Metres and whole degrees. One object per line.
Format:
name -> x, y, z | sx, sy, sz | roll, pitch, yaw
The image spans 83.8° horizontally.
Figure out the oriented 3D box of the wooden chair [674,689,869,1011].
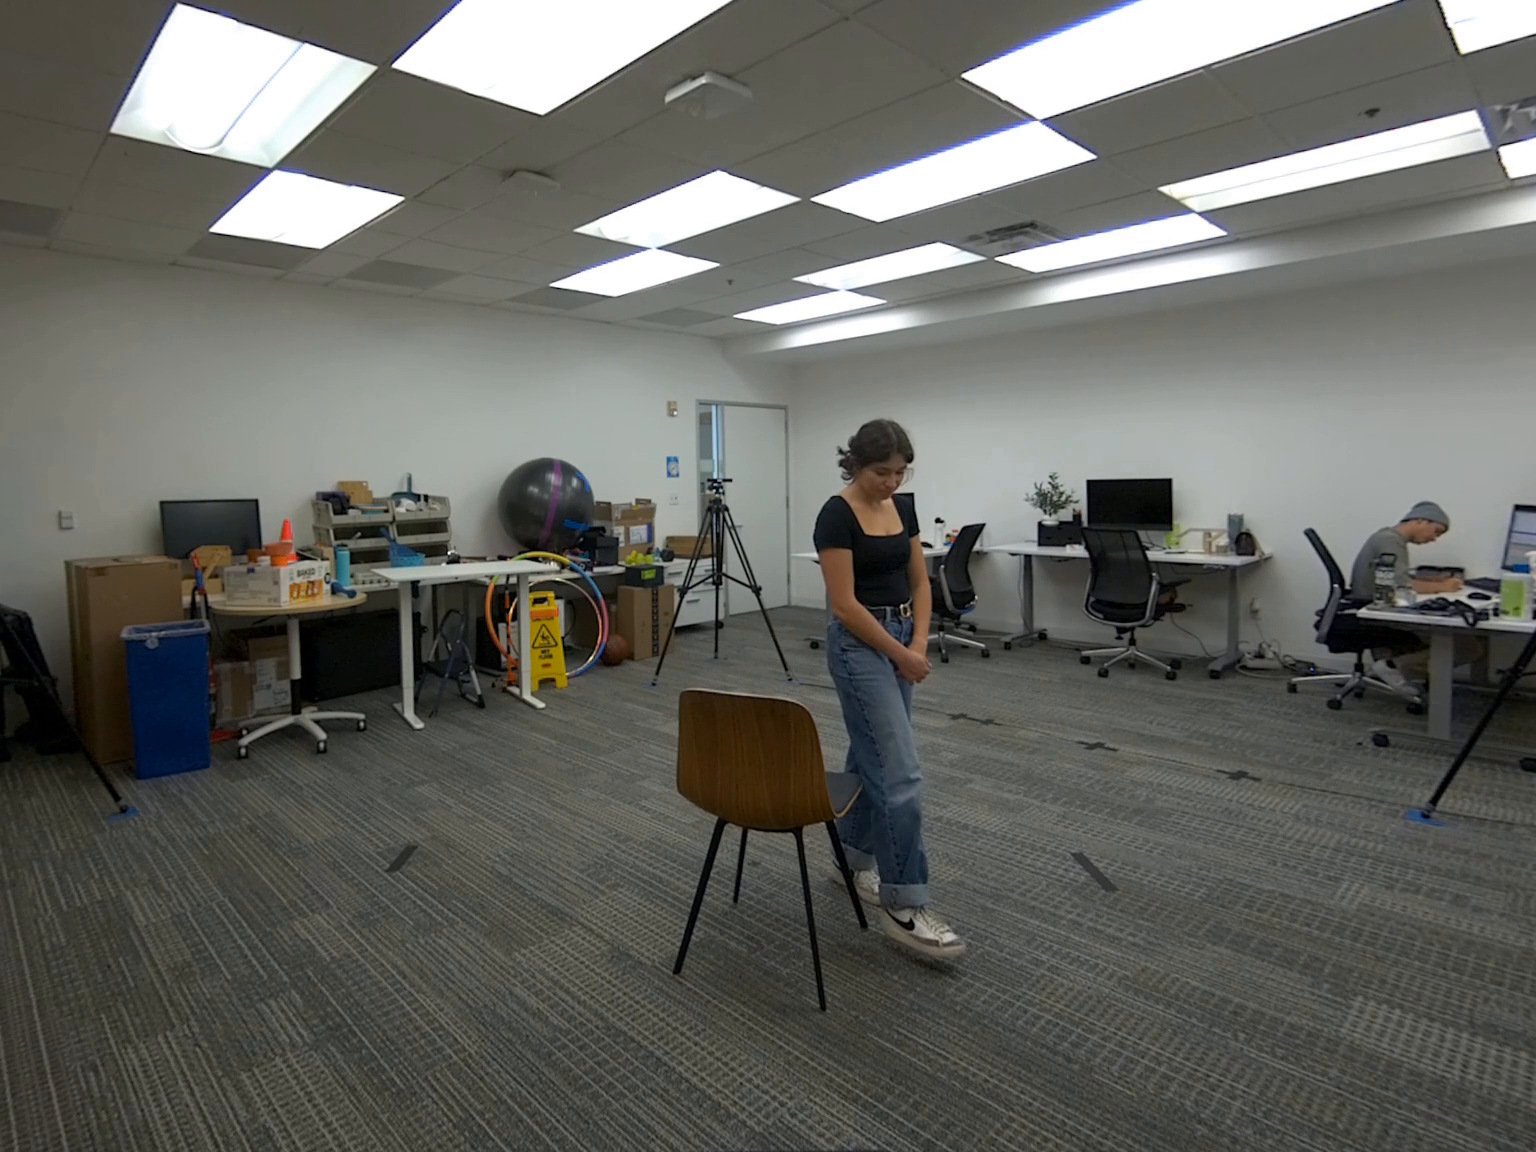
wooden chair -> 0.016, 0.688, 2.507 | 0.488, 0.870, 0.516 | 1, 9, 23
